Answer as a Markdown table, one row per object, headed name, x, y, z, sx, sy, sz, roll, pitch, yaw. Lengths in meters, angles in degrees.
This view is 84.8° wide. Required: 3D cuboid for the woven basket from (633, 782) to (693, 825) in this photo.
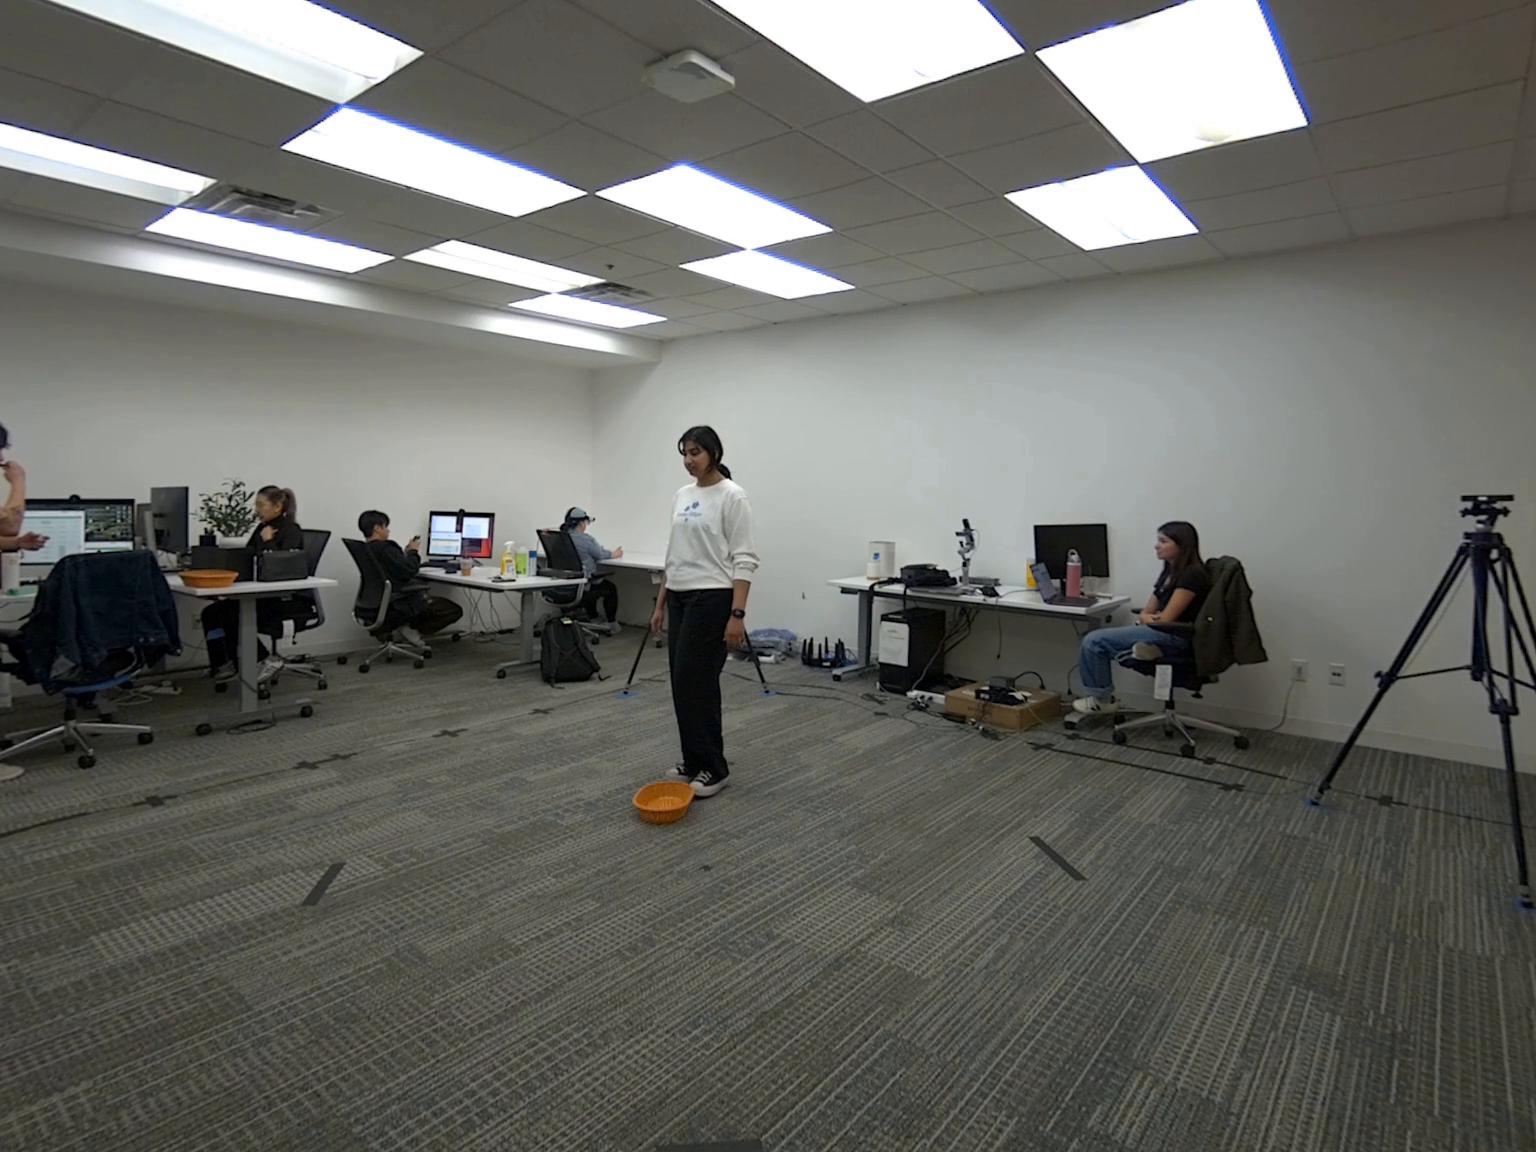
| name | x | y | z | sx | sy | sz | roll | pitch | yaw |
| --- | --- | --- | --- | --- | --- | --- | --- | --- | --- |
| woven basket | -0.448 | 0.968 | 3.644 | 0.255 | 0.073 | 0.348 | 0 | 5 | 8 |
